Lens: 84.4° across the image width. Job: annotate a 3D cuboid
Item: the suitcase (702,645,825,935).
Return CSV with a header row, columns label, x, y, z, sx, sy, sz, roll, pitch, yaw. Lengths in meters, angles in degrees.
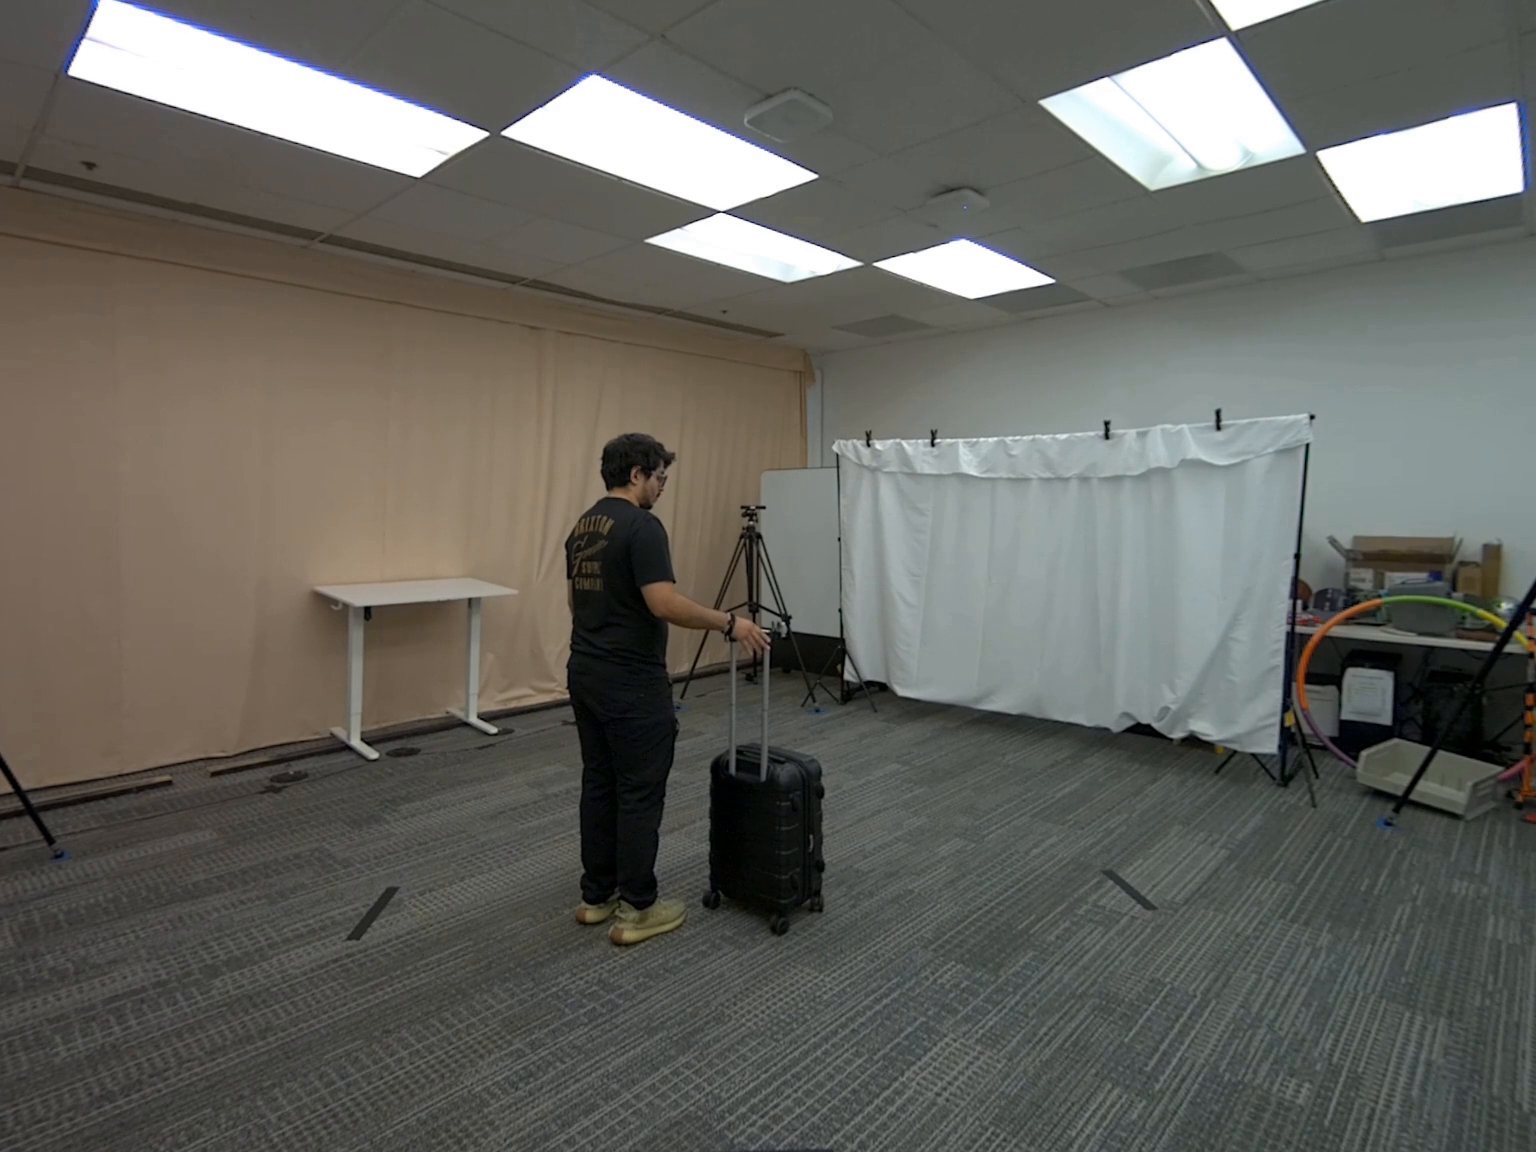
label,x,y,z,sx,sy,sz,roll,pitch,yaw
suitcase,0.003,0.674,2.909,0.396,0.978,0.249,3,1,39
